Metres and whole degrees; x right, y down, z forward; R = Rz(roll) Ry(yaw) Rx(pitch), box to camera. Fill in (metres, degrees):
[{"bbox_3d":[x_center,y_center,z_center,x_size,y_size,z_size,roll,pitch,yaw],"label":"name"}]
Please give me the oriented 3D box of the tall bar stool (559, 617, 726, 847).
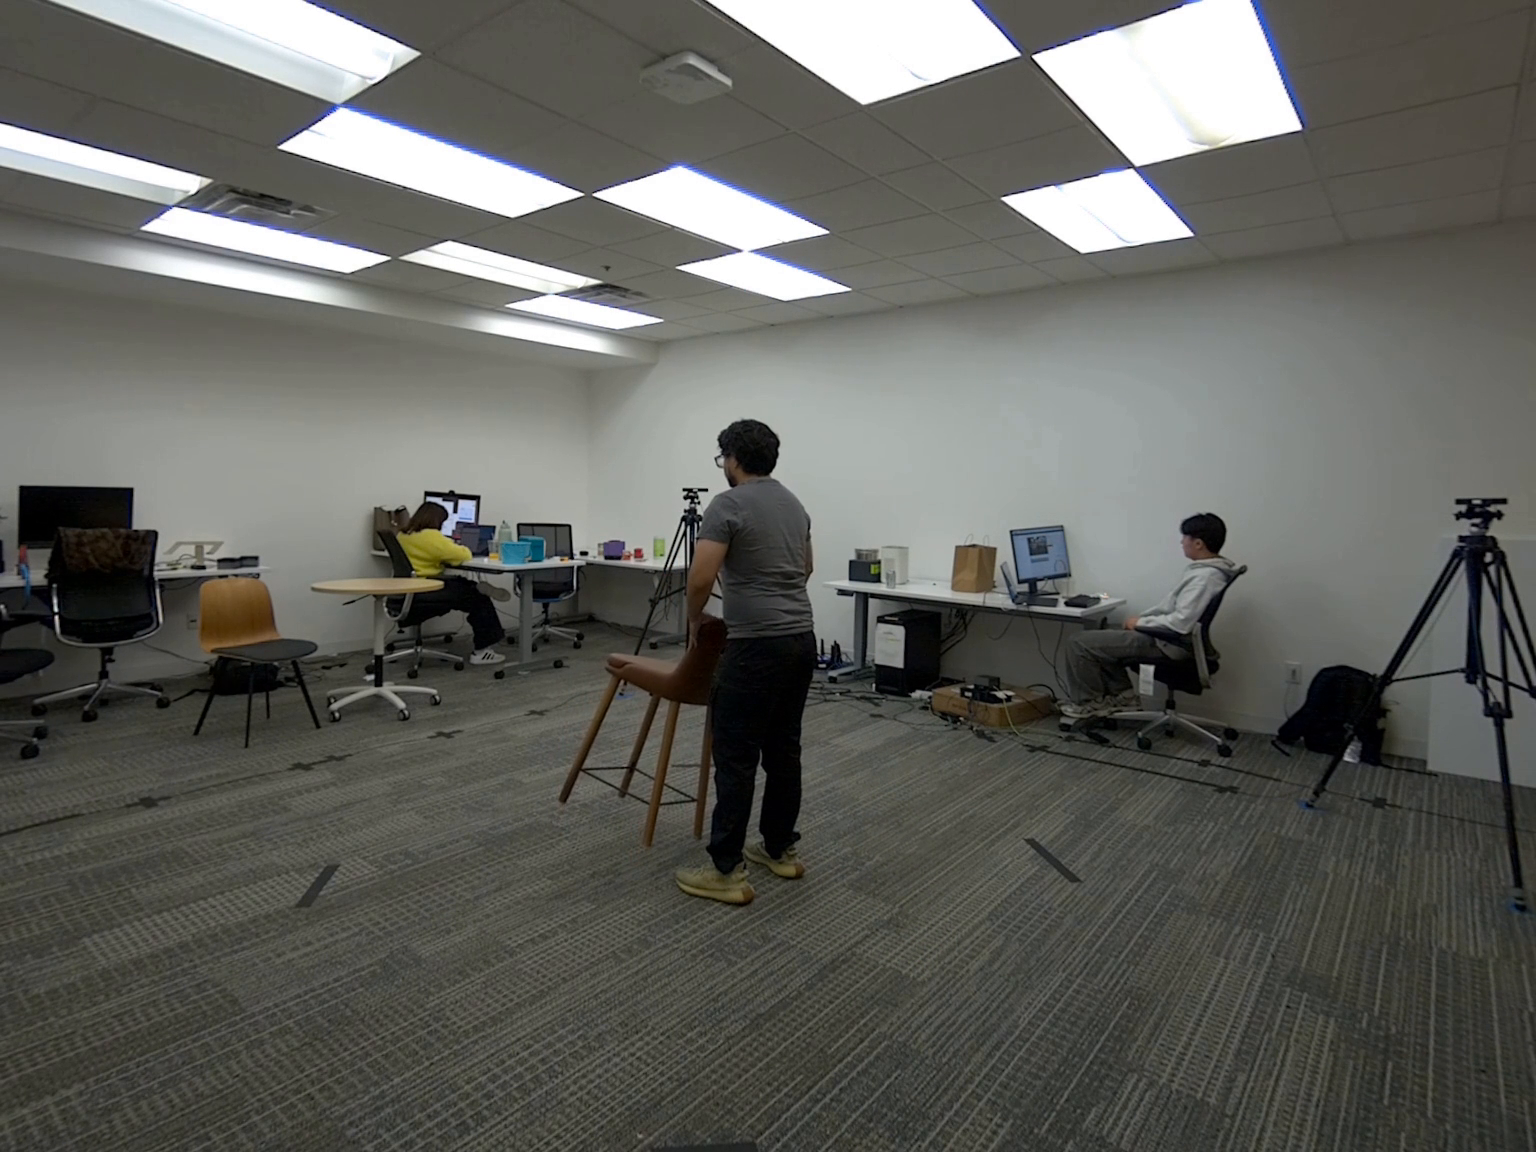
[{"bbox_3d":[-0.423,0.546,3.388,0.484,0.891,0.440,17,-2,32],"label":"tall bar stool"}]
